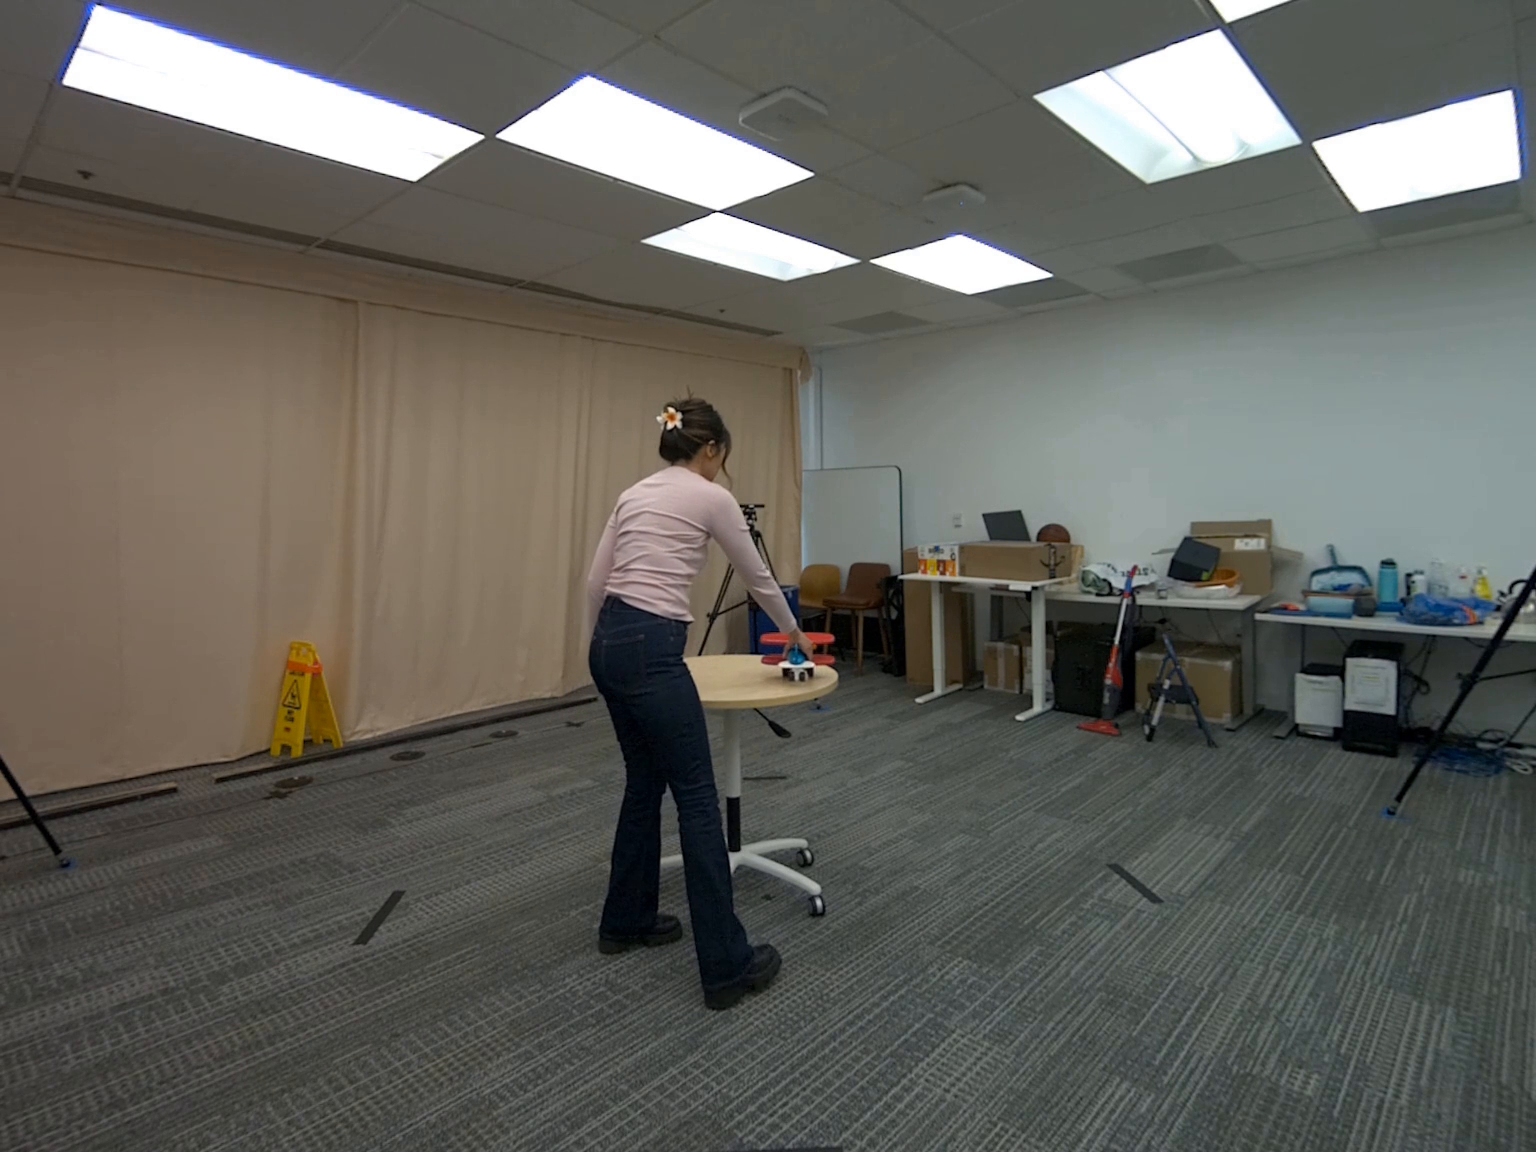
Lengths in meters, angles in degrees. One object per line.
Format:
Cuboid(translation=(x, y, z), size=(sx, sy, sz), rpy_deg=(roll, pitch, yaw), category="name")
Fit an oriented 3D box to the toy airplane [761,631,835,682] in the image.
Cuboid(translation=(0.117, 0.274, 2.906), size=(0.246, 0.156, 0.264), rpy_deg=(0, -1, -22), category="toy airplane")
